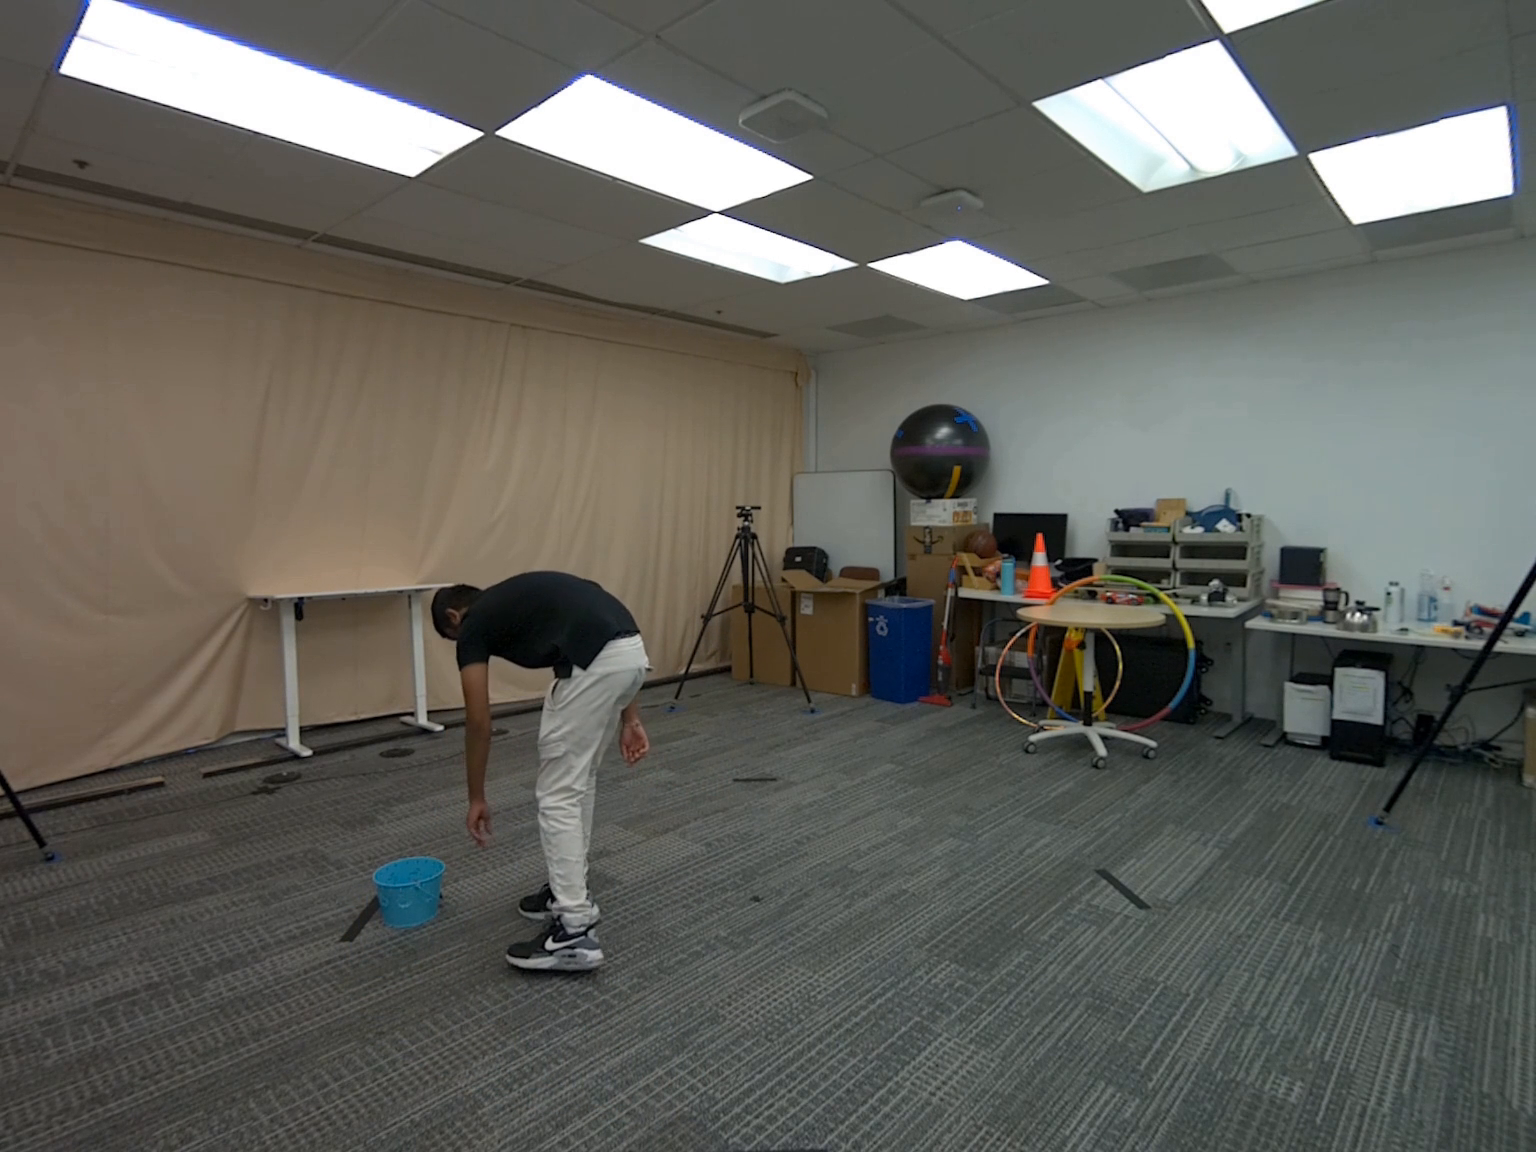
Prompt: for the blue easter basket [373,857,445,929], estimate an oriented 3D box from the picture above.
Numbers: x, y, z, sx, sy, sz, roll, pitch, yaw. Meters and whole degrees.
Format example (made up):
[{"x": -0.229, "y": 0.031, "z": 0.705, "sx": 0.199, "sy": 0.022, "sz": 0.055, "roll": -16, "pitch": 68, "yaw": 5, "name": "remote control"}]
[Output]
[{"x": -1.224, "y": 1.085, "z": 2.883, "sx": 0.243, "sy": 0.155, "sz": 0.244, "roll": 0, "pitch": 5, "yaw": -2, "name": "blue easter basket"}]
